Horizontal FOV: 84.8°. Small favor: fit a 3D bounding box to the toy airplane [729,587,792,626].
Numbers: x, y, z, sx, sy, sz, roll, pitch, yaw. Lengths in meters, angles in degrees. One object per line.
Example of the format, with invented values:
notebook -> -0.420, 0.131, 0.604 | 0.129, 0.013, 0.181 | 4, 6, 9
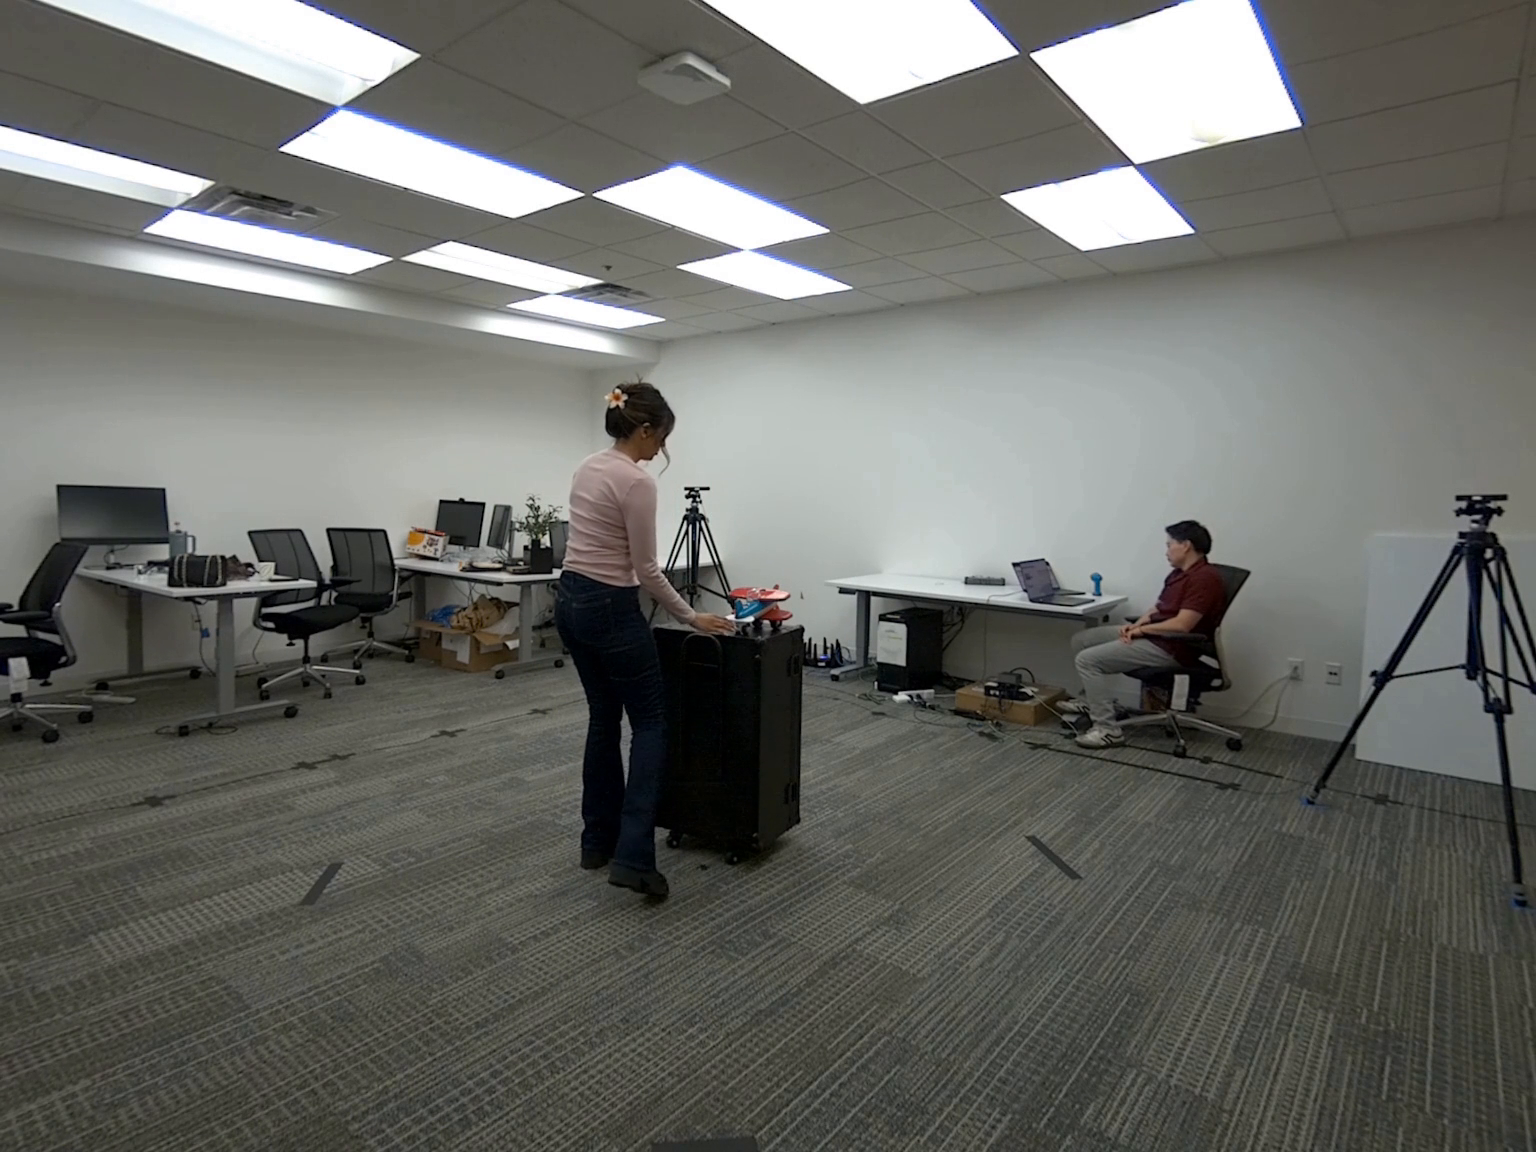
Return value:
toy airplane -> -0.041, 0.133, 3.243 | 0.253, 0.156, 0.258 | 1, 4, 6
